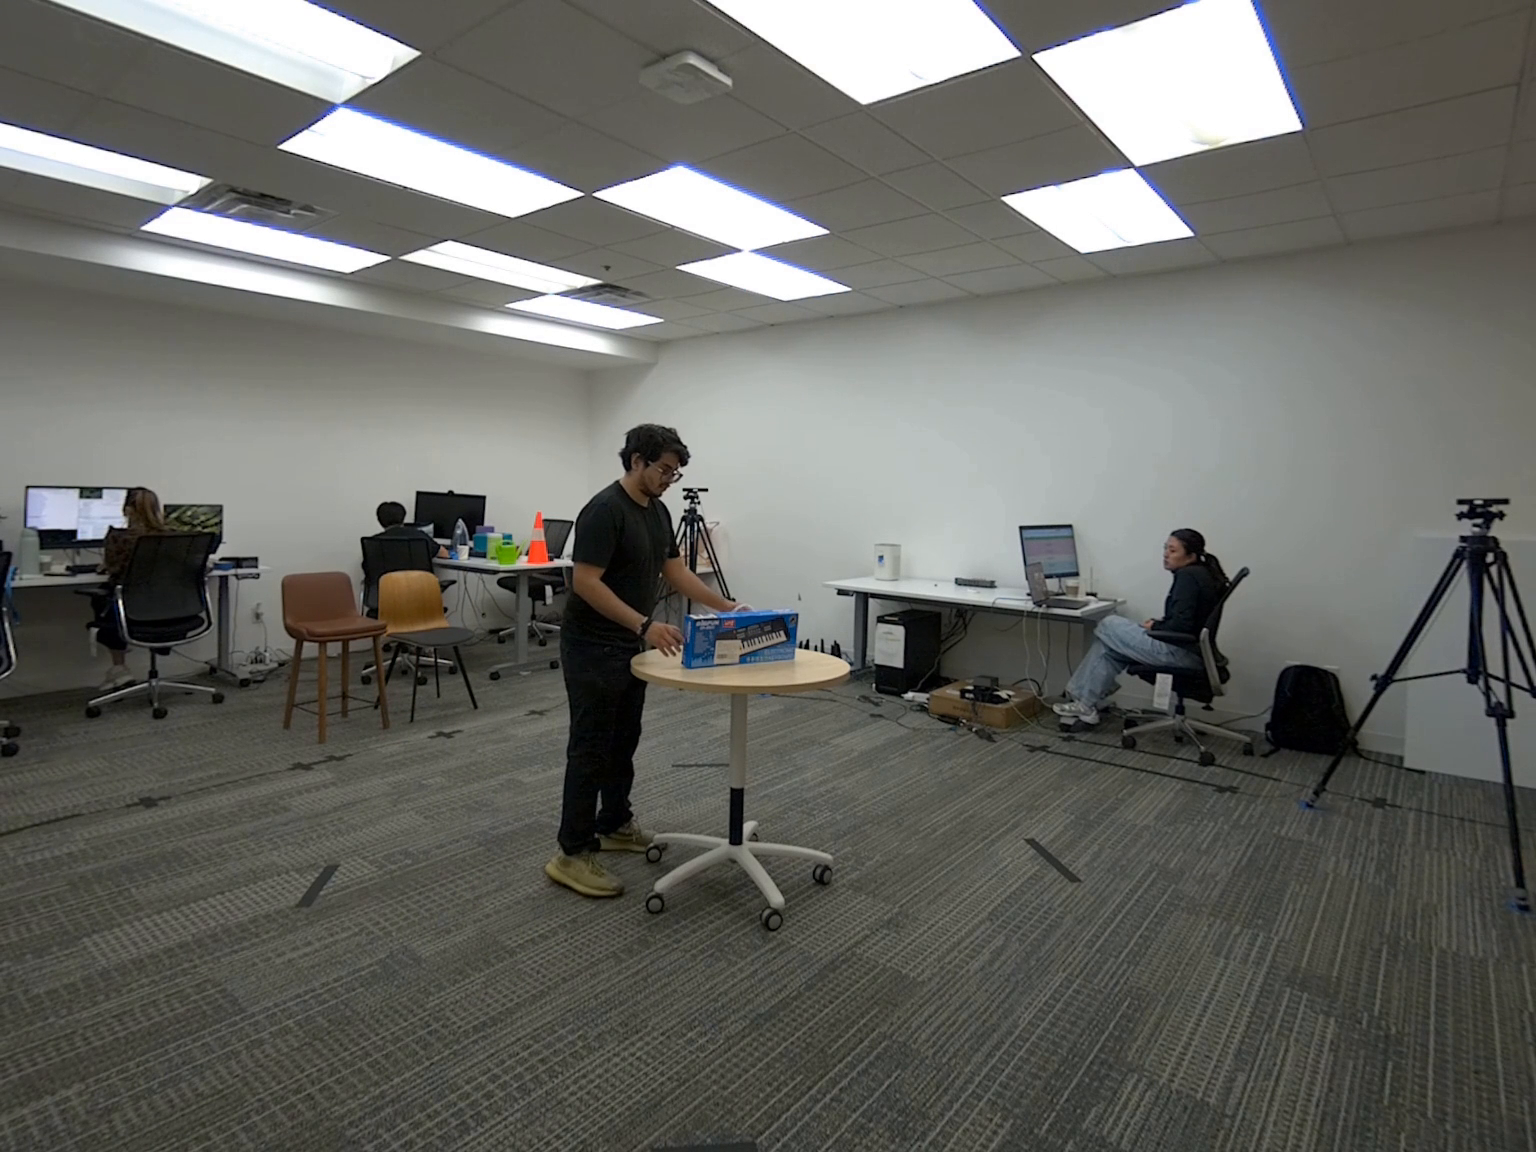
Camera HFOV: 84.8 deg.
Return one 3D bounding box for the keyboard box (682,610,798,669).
[{"bbox_3d":[-0.097,0.217,2.959,0.425,0.175,0.061,-2,8,-32],"label":"keyboard box"}]
